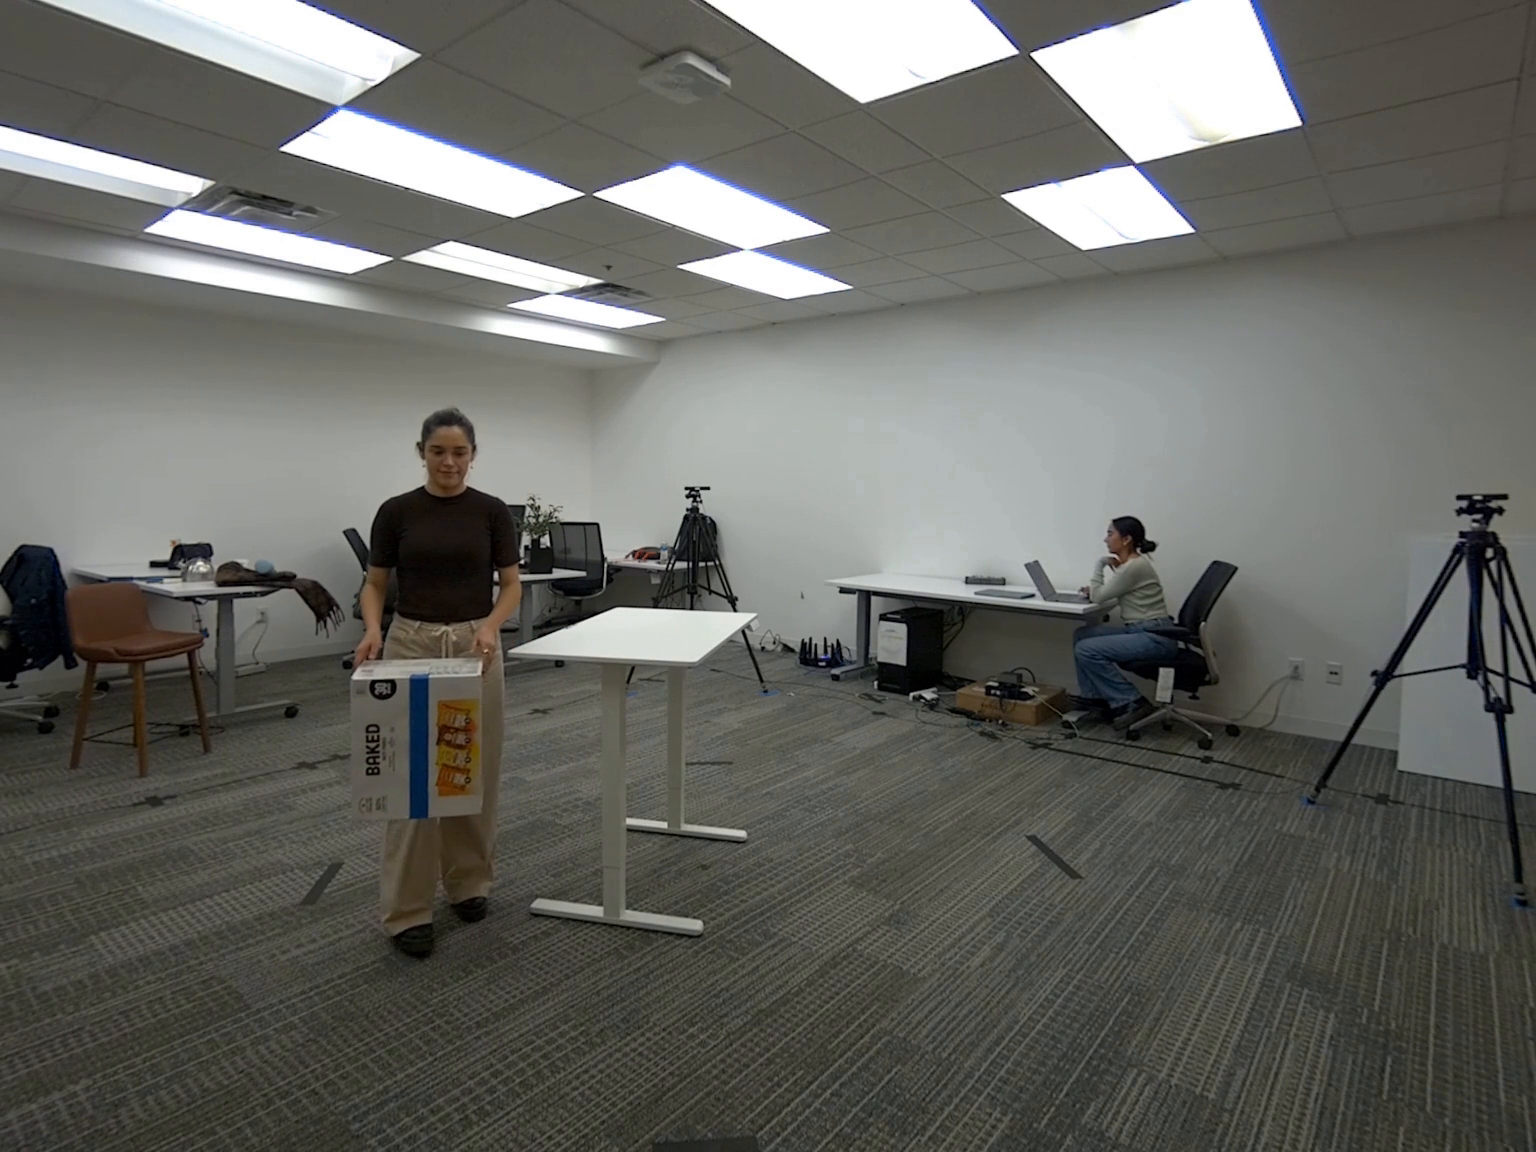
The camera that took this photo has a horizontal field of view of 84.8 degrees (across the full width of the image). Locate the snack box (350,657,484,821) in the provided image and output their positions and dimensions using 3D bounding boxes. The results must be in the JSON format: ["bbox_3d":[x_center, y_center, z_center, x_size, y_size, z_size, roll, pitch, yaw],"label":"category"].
[{"bbox_3d":[-1.005,0.460,2.420,0.335,0.403,0.210,0,7,-15],"label":"snack box"}]
